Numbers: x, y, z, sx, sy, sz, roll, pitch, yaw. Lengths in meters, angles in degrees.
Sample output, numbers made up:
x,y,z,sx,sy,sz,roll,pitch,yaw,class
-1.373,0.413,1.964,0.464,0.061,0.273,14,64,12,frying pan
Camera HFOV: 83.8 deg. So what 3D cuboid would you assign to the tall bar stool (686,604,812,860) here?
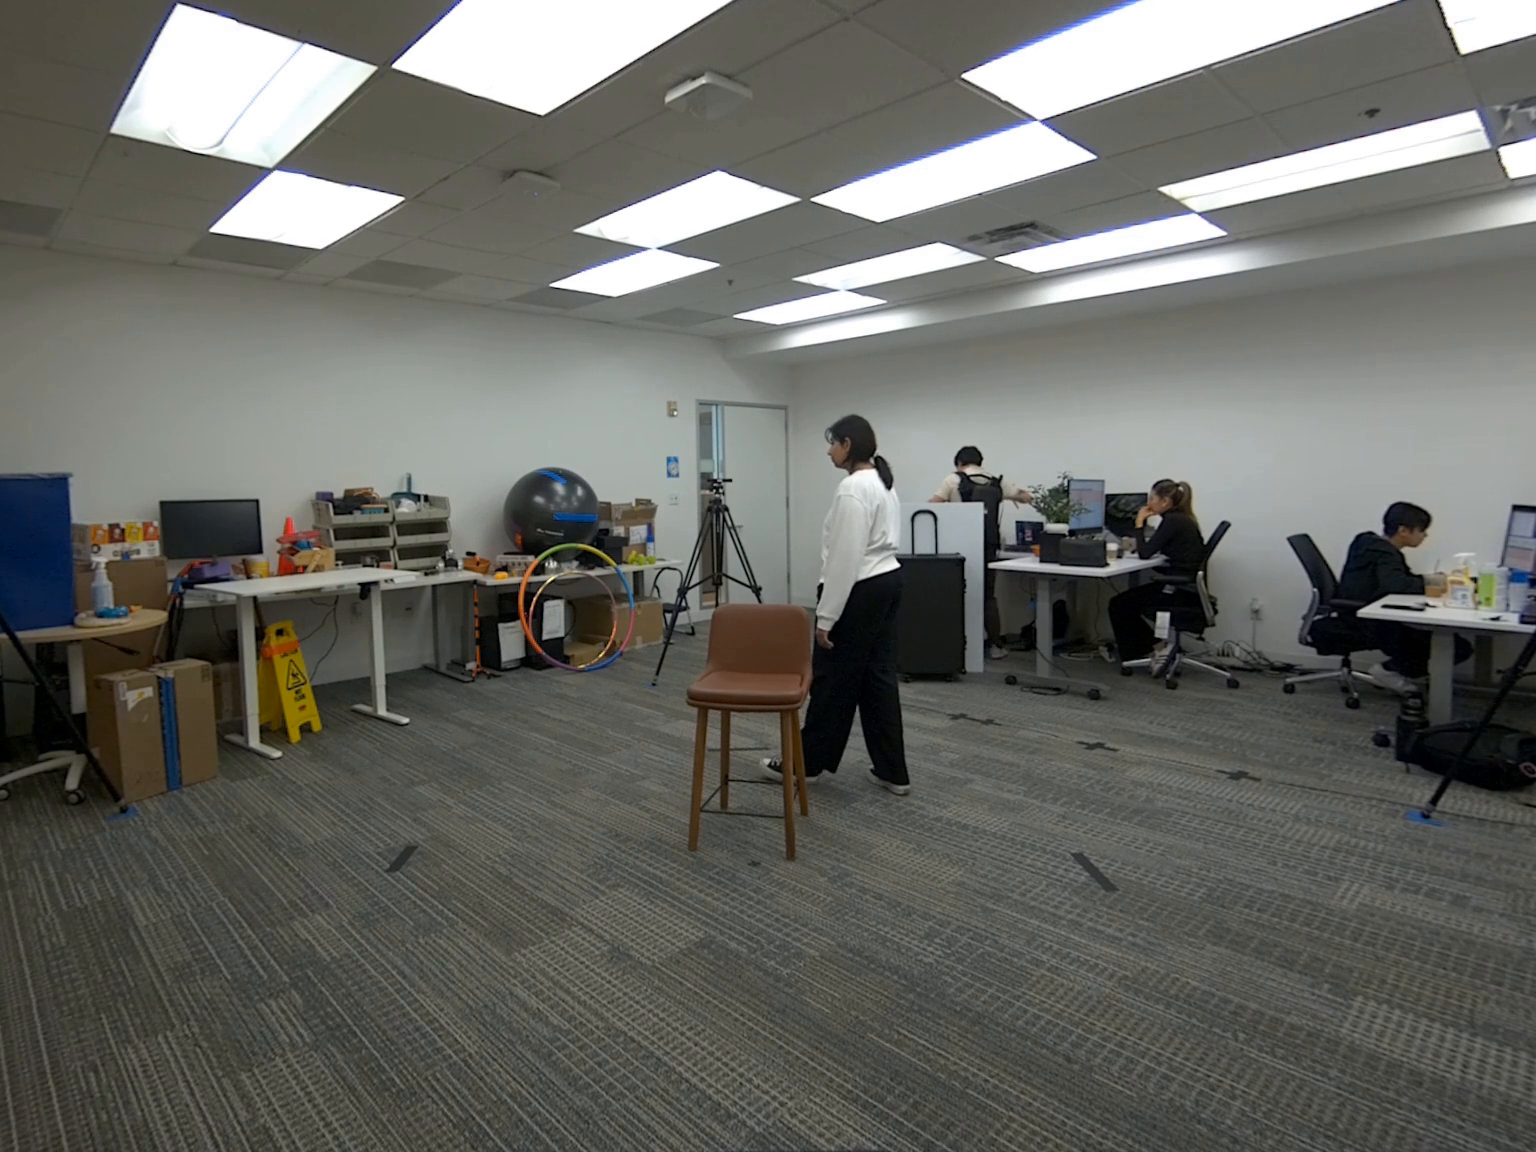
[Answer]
x,y,z,sx,sy,sz,roll,pitch,yaw,class
-0.063,0.581,3.371,0.463,0.888,0.462,0,2,14,tall bar stool
